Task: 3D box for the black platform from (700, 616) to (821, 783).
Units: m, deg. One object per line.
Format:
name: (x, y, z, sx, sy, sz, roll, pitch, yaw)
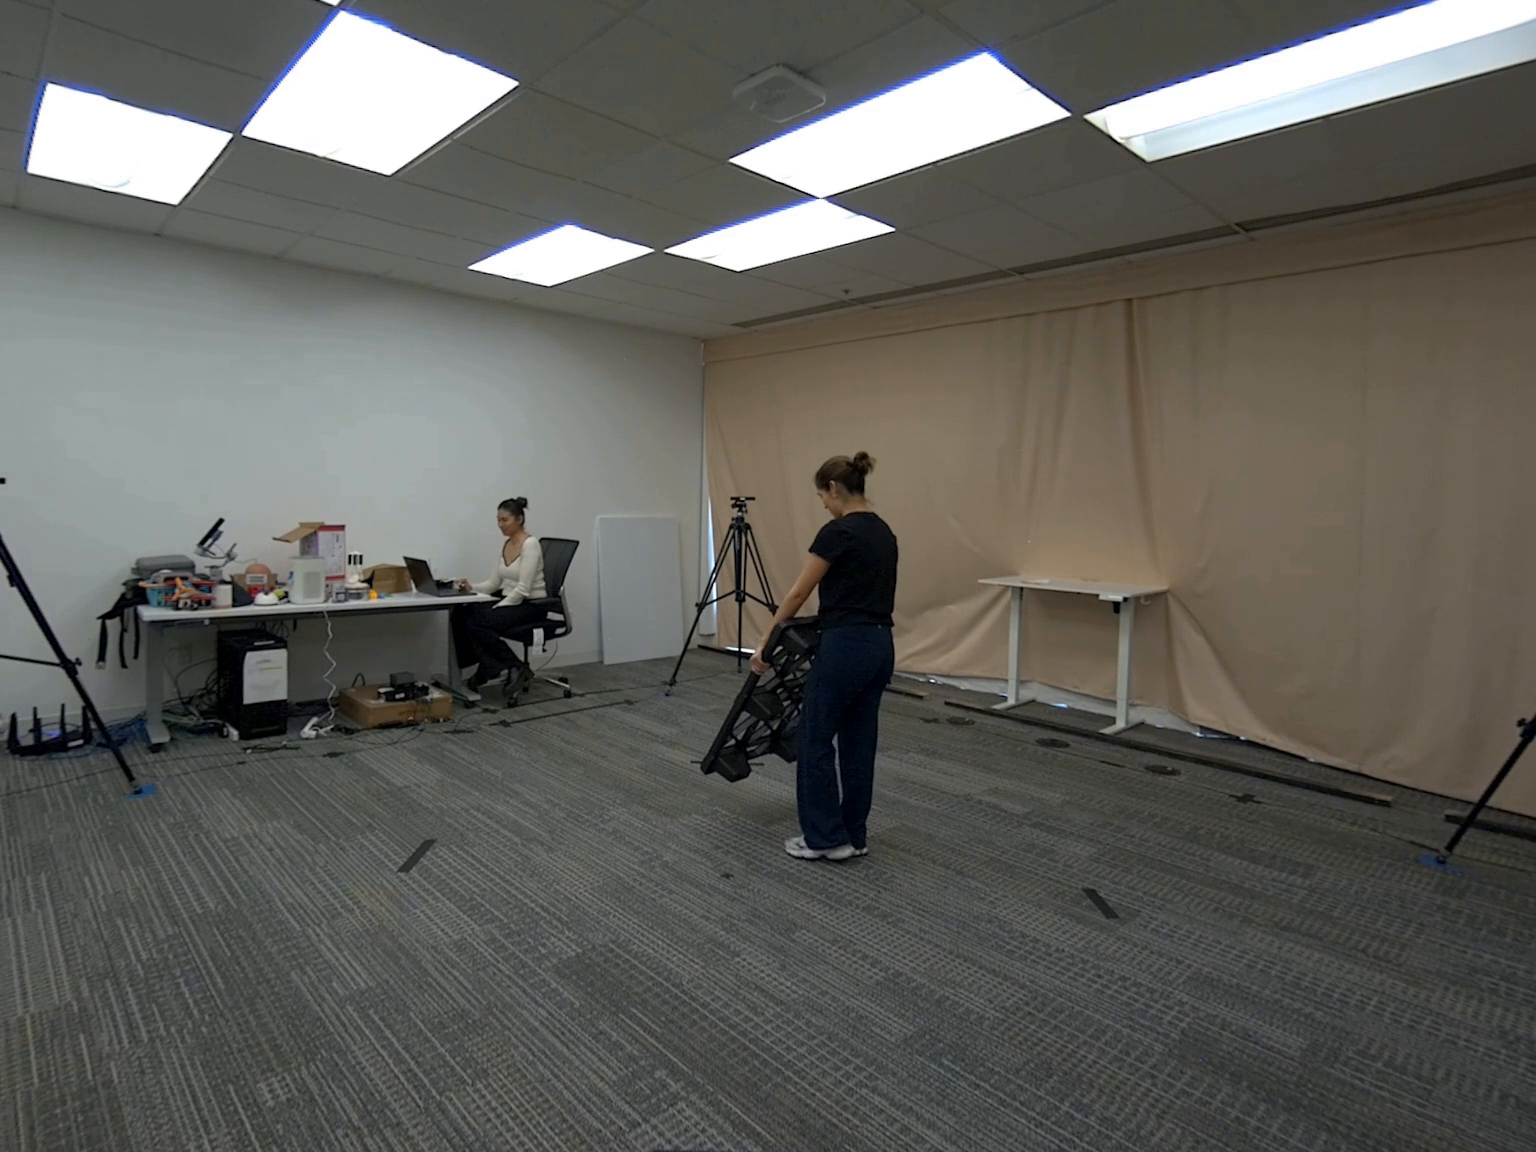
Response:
black platform: (0.096, 0.504, 3.505, 0.592, 0.799, 0.147, -6, 40, -49)
